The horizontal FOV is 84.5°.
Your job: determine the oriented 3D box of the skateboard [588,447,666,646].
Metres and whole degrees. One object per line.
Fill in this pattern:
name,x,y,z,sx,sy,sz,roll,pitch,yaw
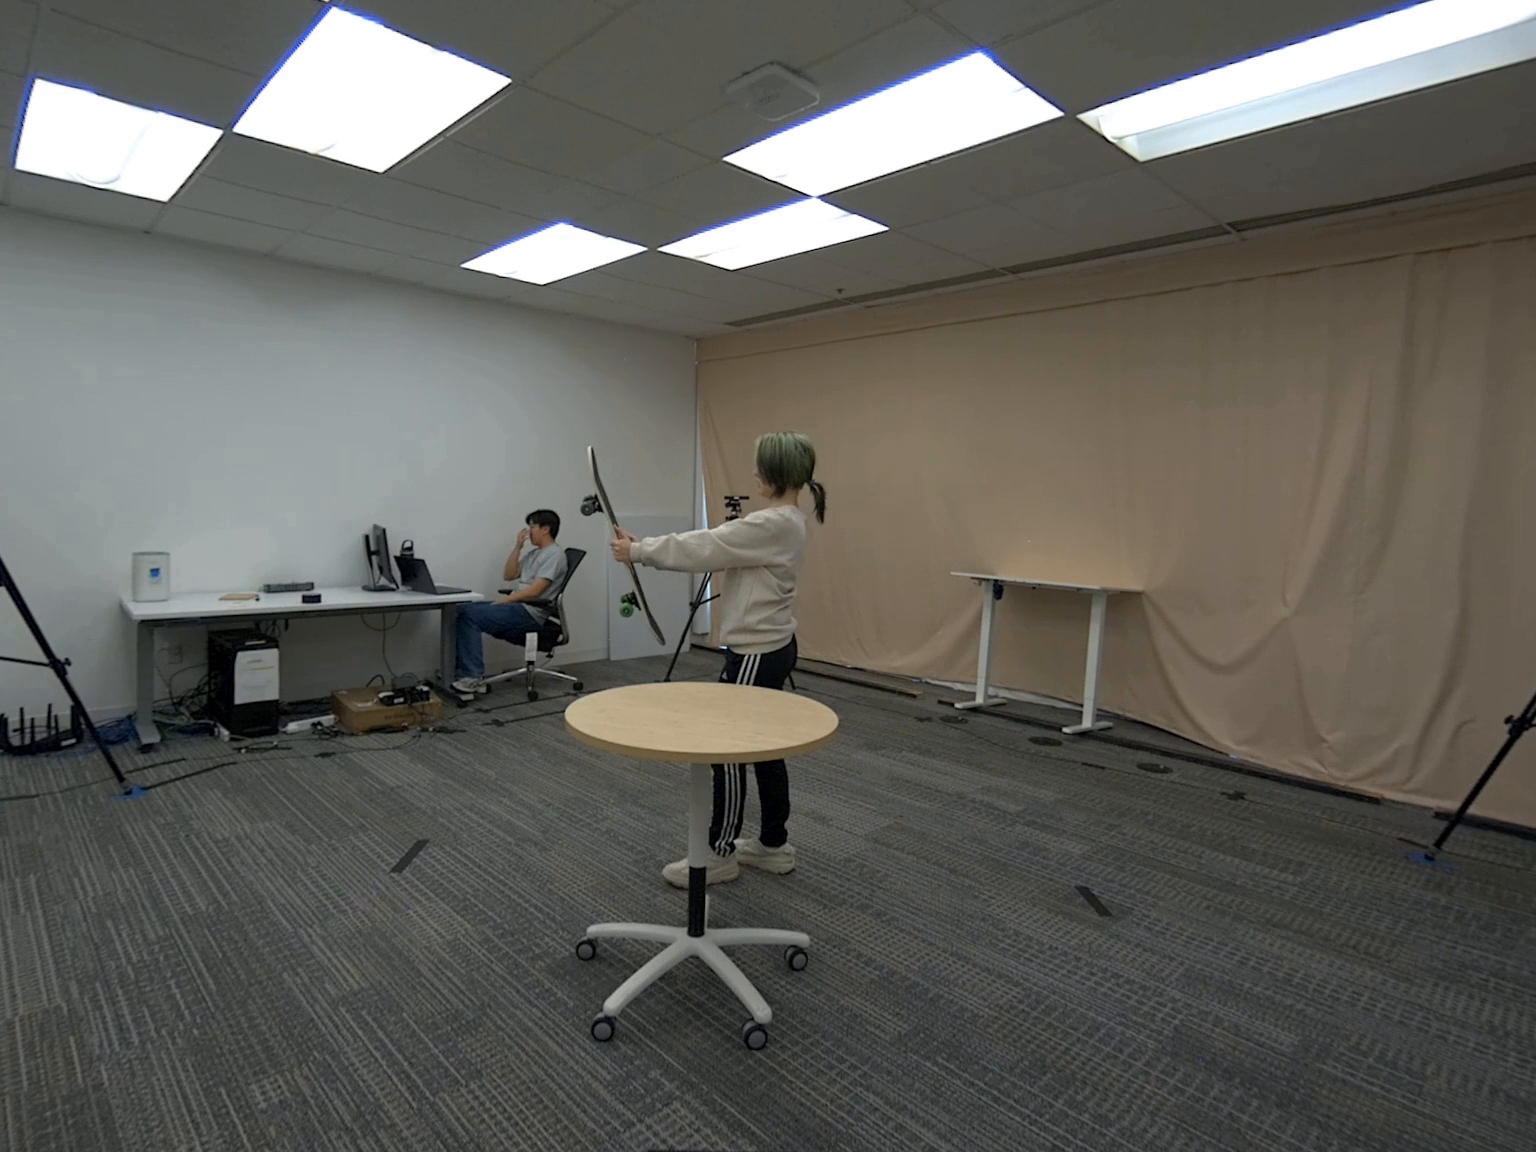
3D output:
skateboard,-0.564,-0.082,3.085,0.110,0.776,0.196,-20,13,-4
